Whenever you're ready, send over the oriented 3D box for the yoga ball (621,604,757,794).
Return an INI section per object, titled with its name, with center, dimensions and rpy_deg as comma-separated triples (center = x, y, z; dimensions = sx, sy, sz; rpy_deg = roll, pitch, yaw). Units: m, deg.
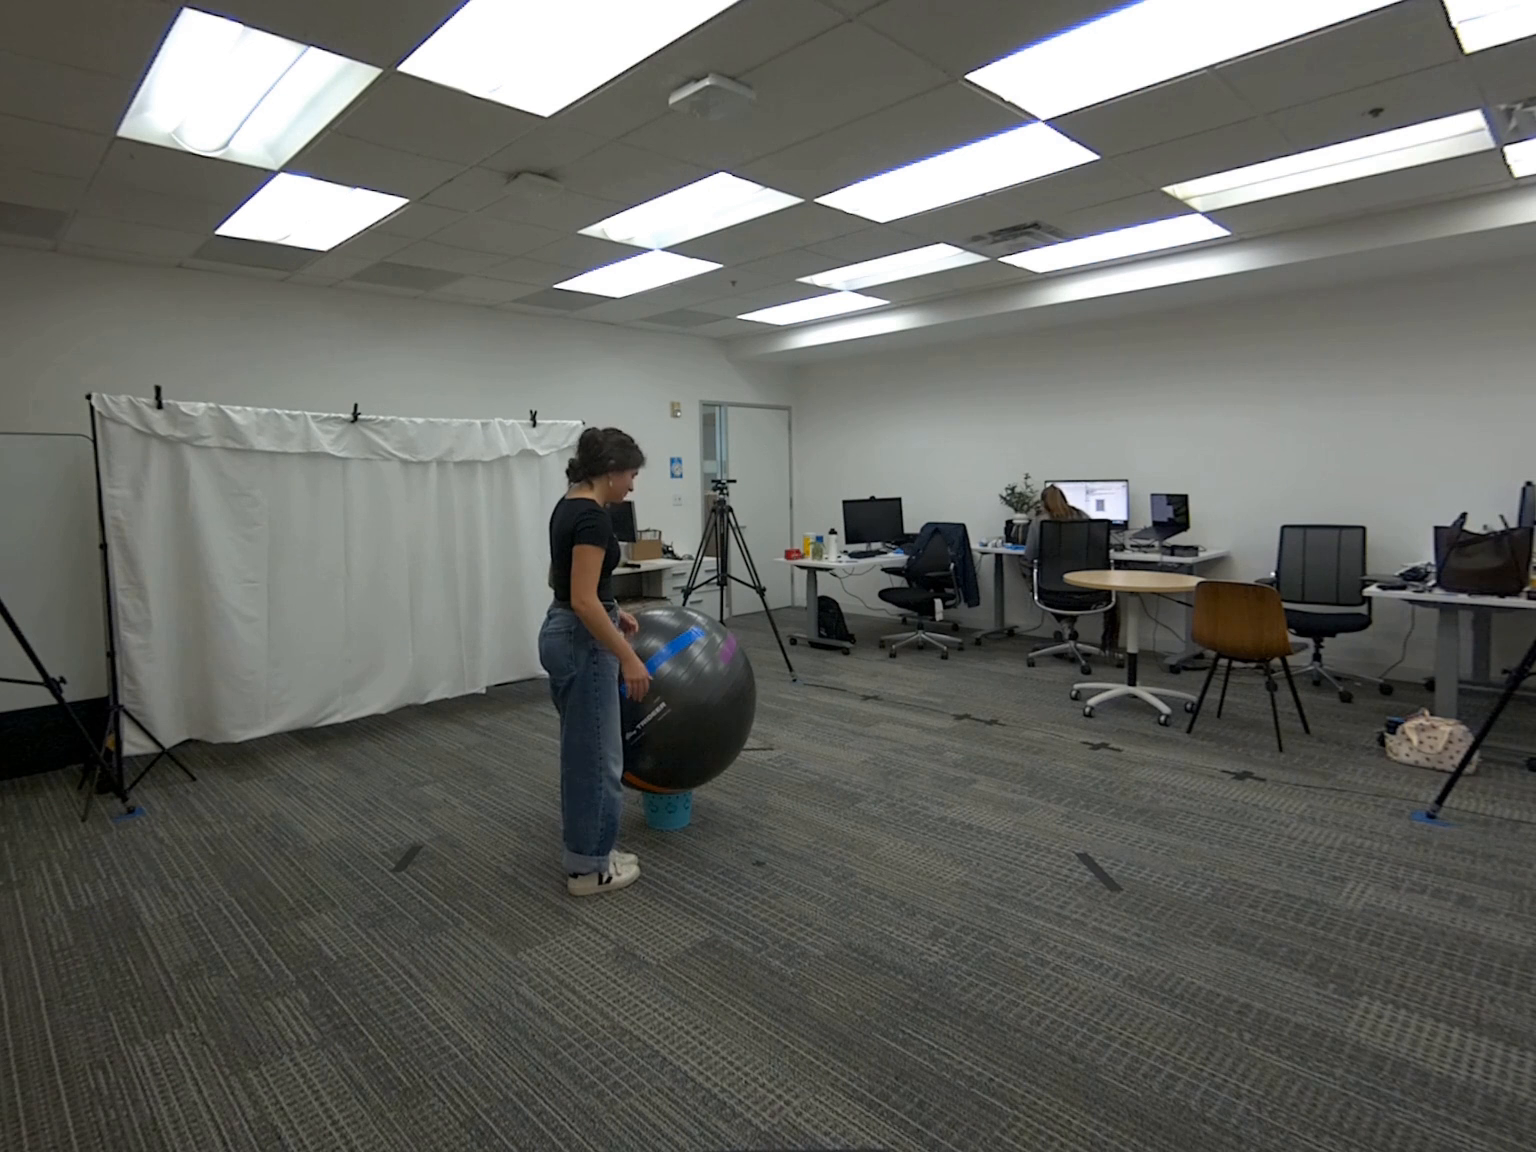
[yoga ball]
center = -0.440, 0.509, 3.501
dimensions = 0.757, 0.755, 0.762
rpy_deg = -1, 5, -2
